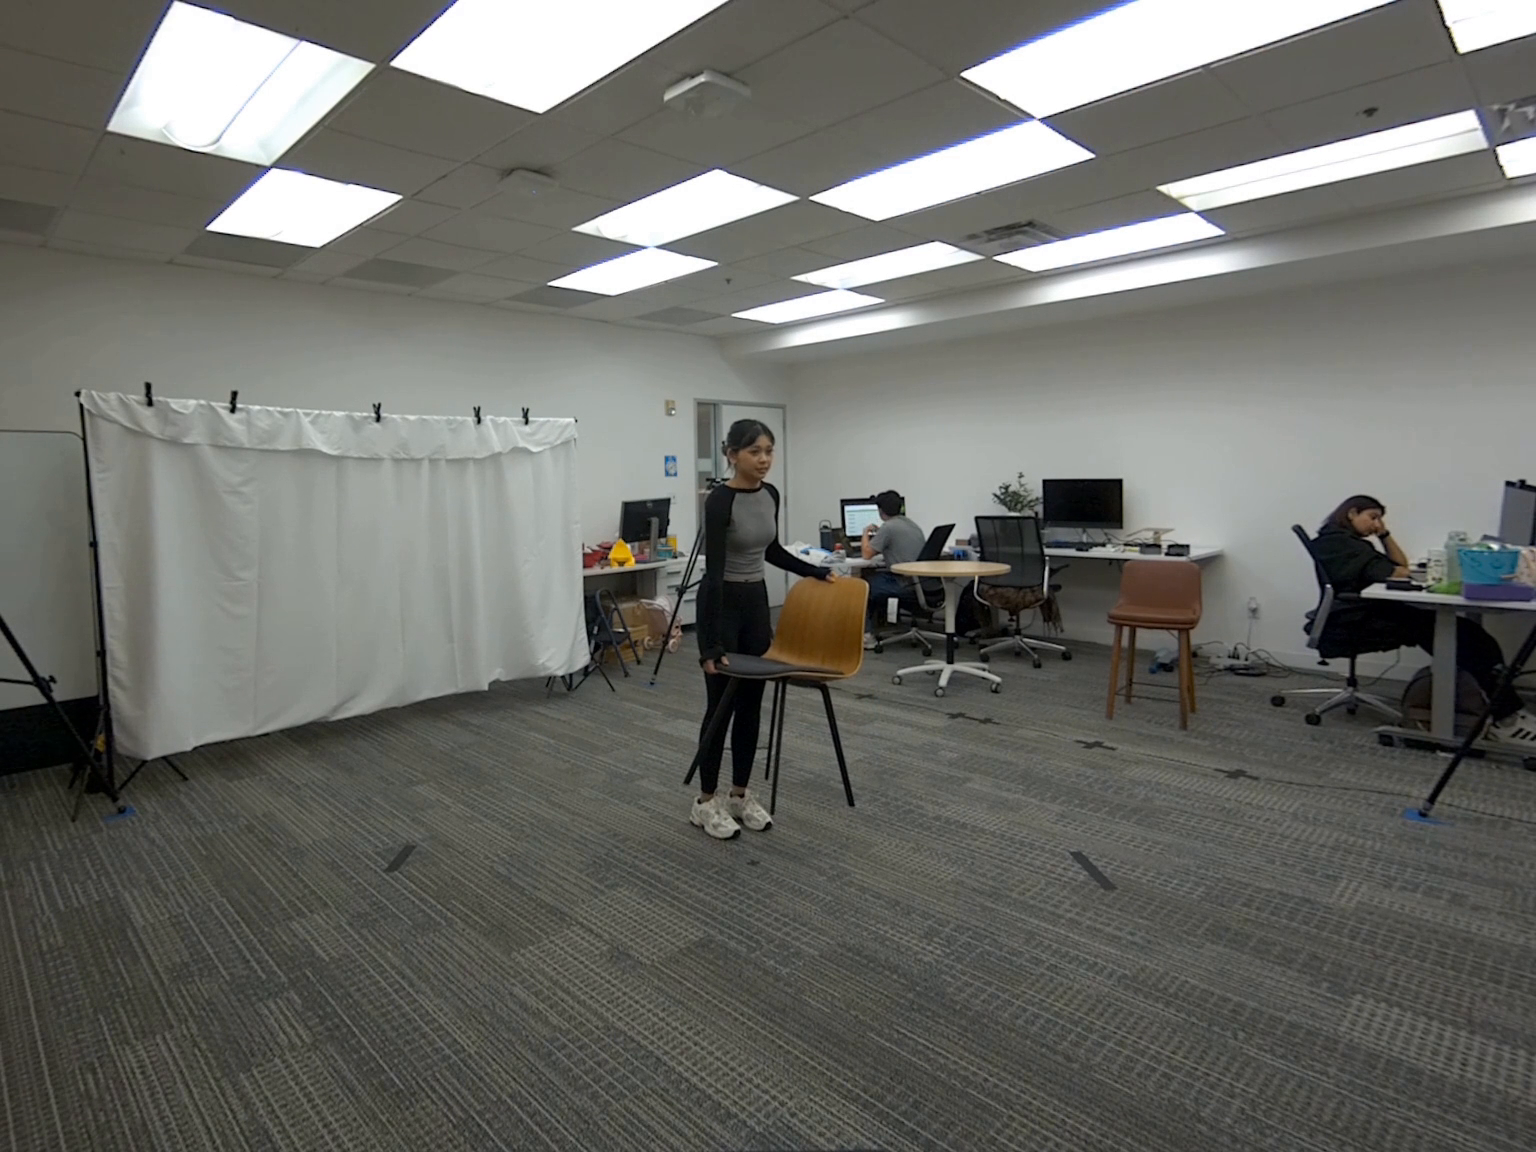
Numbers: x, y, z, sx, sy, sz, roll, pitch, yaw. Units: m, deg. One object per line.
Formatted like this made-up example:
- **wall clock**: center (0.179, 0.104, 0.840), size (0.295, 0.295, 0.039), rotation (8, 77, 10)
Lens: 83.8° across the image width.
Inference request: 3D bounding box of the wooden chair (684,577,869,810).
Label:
- **wooden chair**: center (0.053, 0.393, 3.162), size (0.492, 0.883, 0.505), rotation (1, -11, 45)
